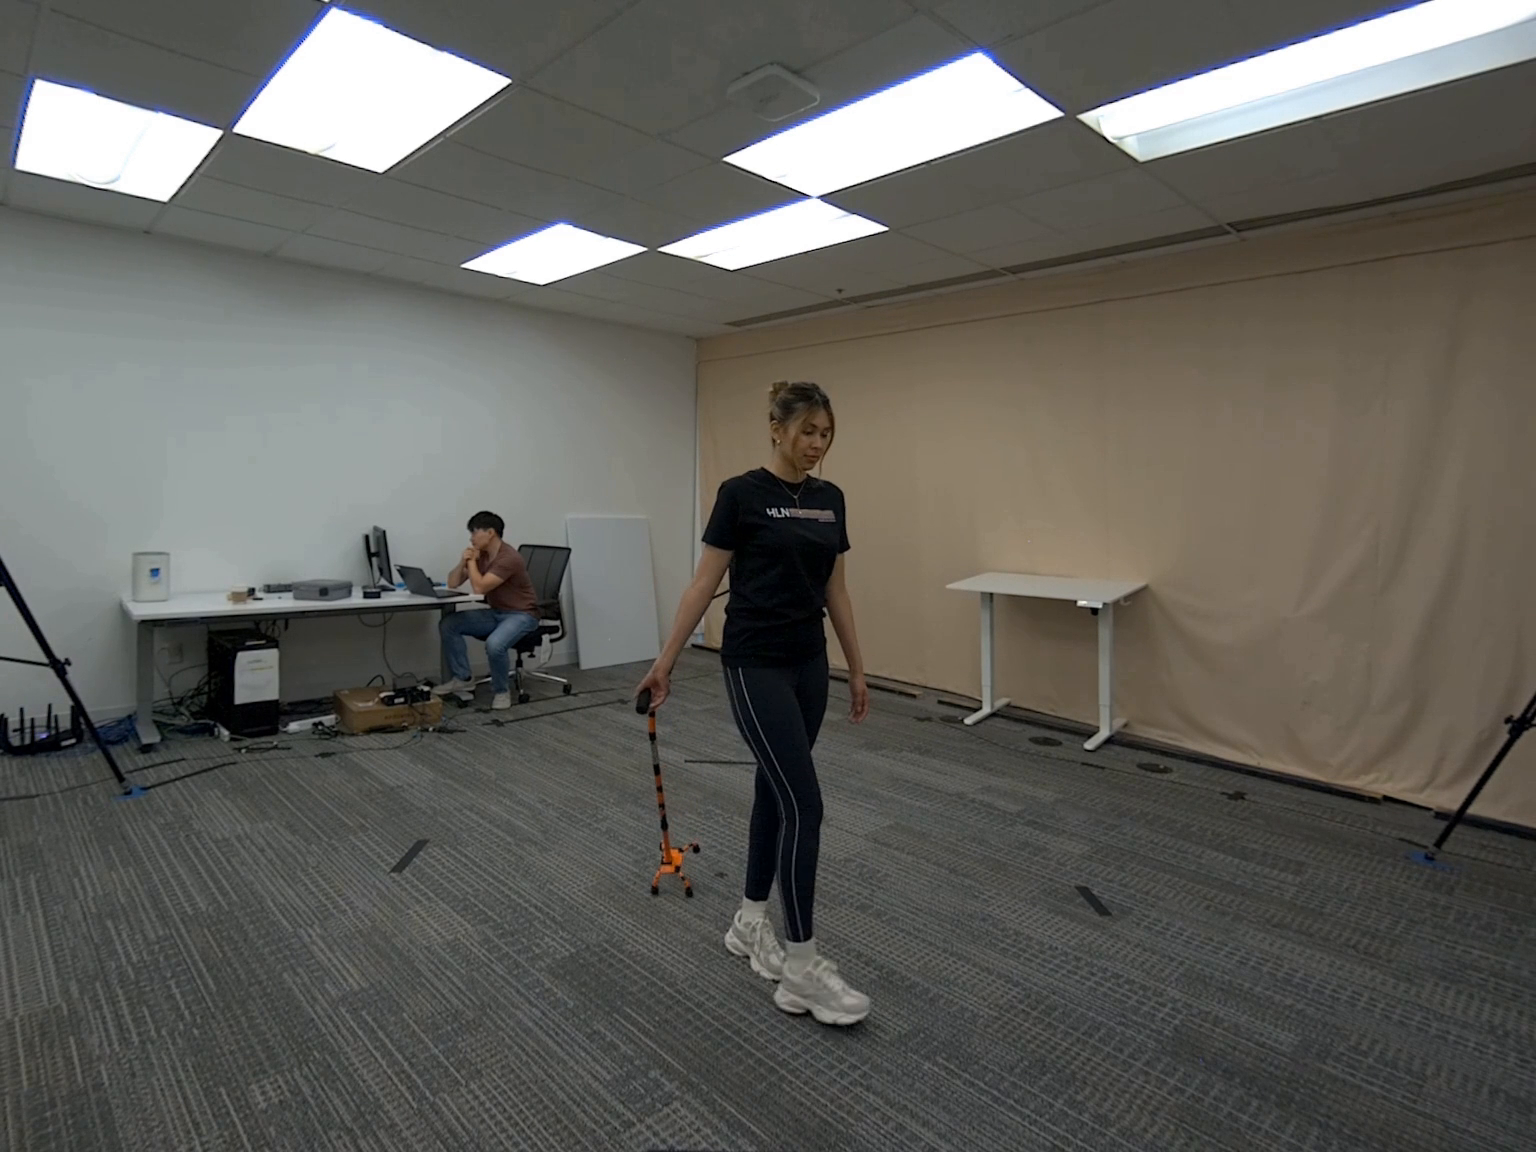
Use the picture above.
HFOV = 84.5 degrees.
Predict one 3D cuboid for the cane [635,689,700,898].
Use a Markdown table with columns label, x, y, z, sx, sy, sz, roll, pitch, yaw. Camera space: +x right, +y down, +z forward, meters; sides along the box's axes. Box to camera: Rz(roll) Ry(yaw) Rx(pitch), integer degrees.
| label | x | y | z | sx | sy | sz | roll | pitch | yaw |
| --- | --- | --- | --- | --- | --- | --- | --- | --- | --- |
| cane | -0.346 | 0.696 | 2.762 | 0.152 | 0.888 | 0.210 | 2 | 35 | 6 |
